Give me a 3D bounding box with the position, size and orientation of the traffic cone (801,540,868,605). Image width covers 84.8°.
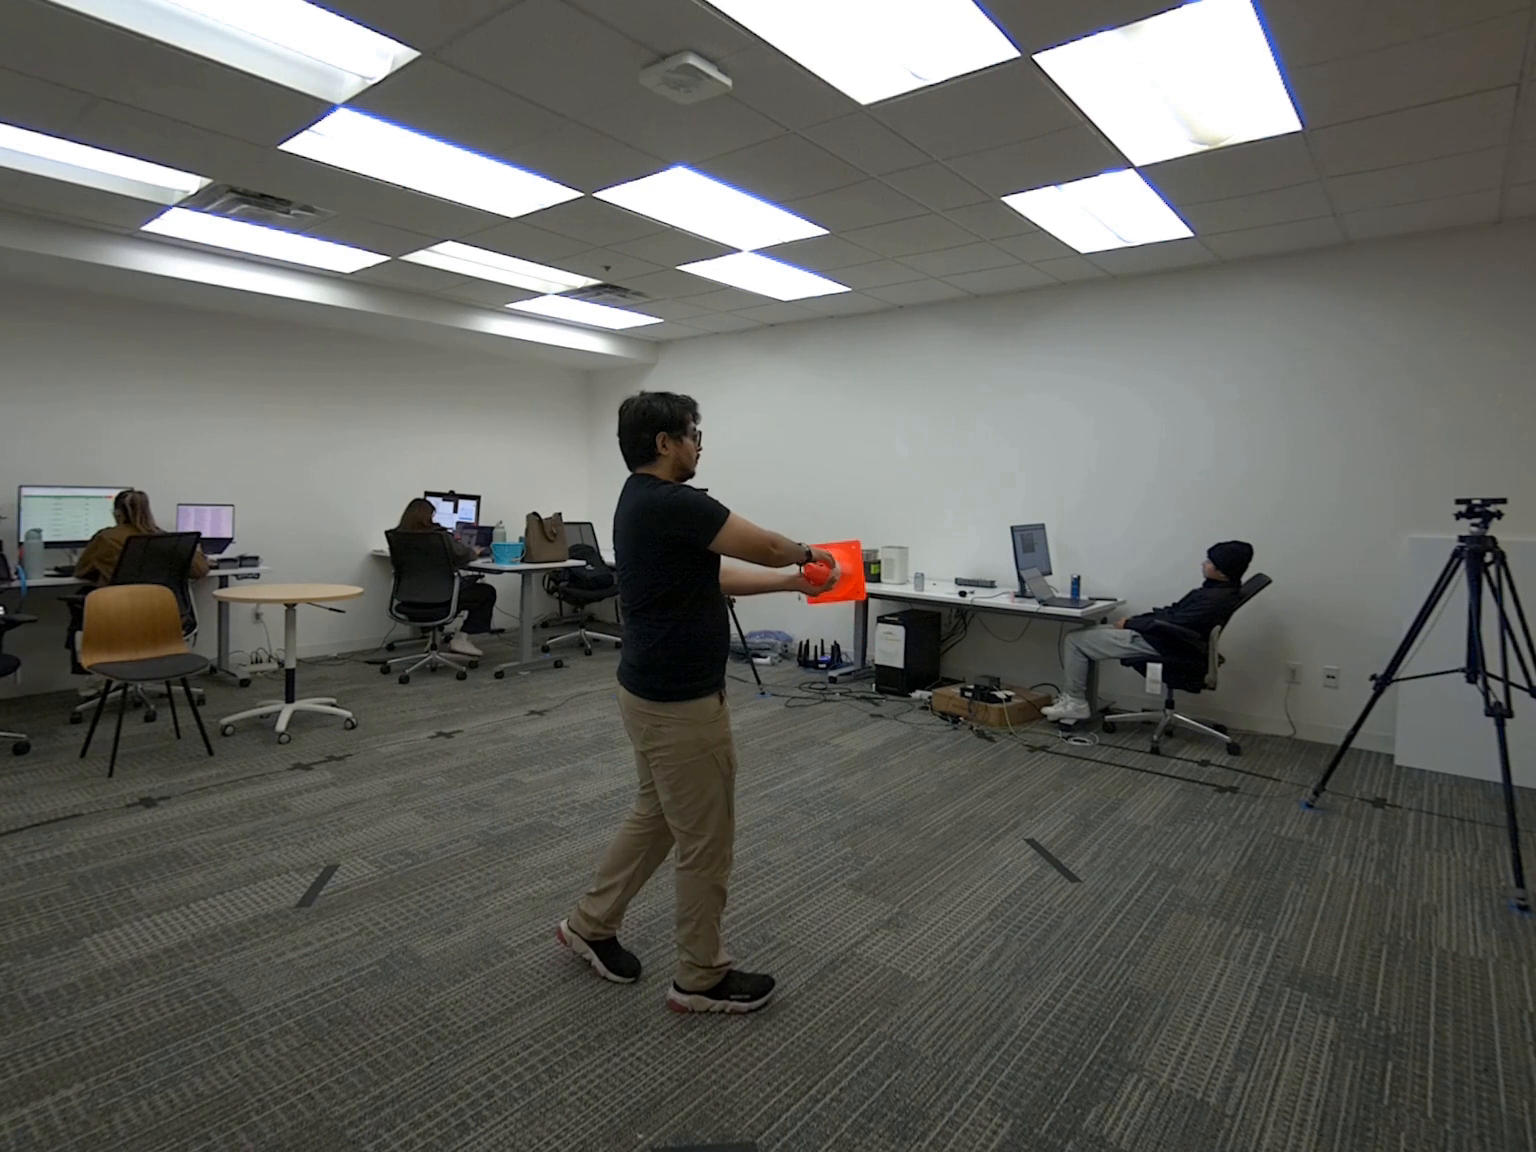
[{"bbox_3d":[0.158,-0.017,2.618,0.208,0.204,0.376,-6,-4,14],"label":"traffic cone"}]
